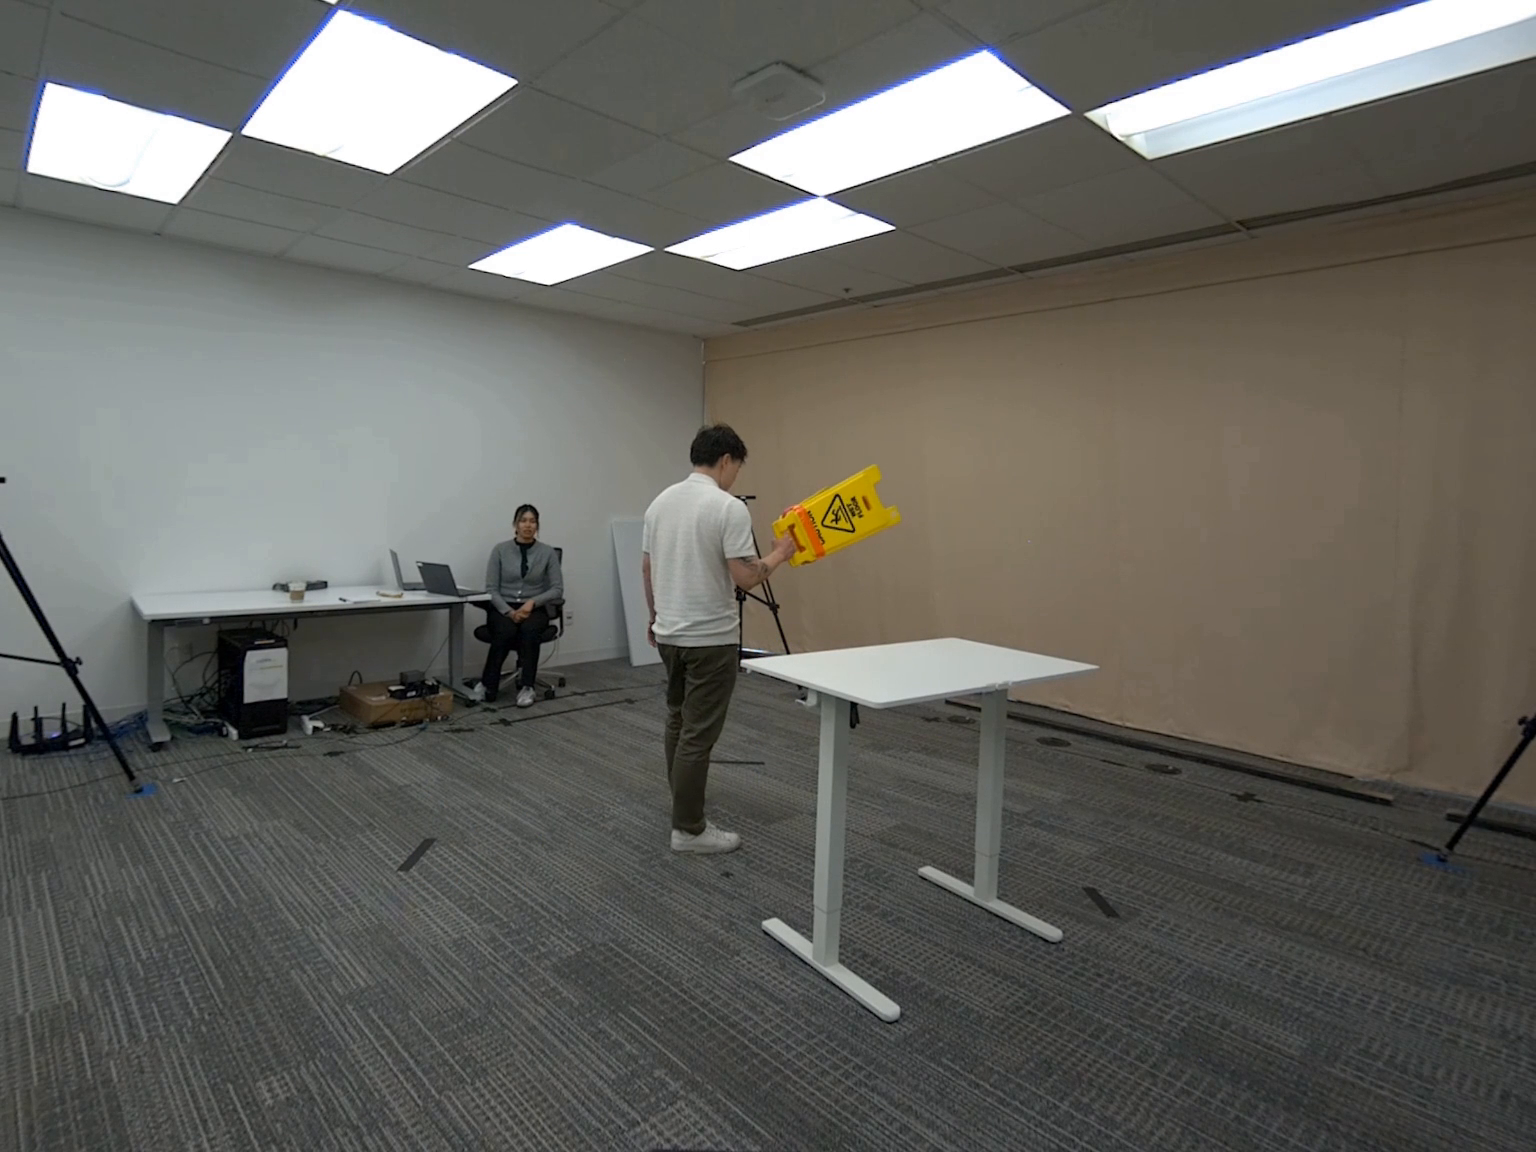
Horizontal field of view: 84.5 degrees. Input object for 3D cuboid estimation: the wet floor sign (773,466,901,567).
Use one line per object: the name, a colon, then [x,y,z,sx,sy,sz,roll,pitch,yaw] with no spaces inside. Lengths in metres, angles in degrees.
wet floor sign: [0.240,-0.222,3.598,0.293,0.282,0.639,-24,3,42]
